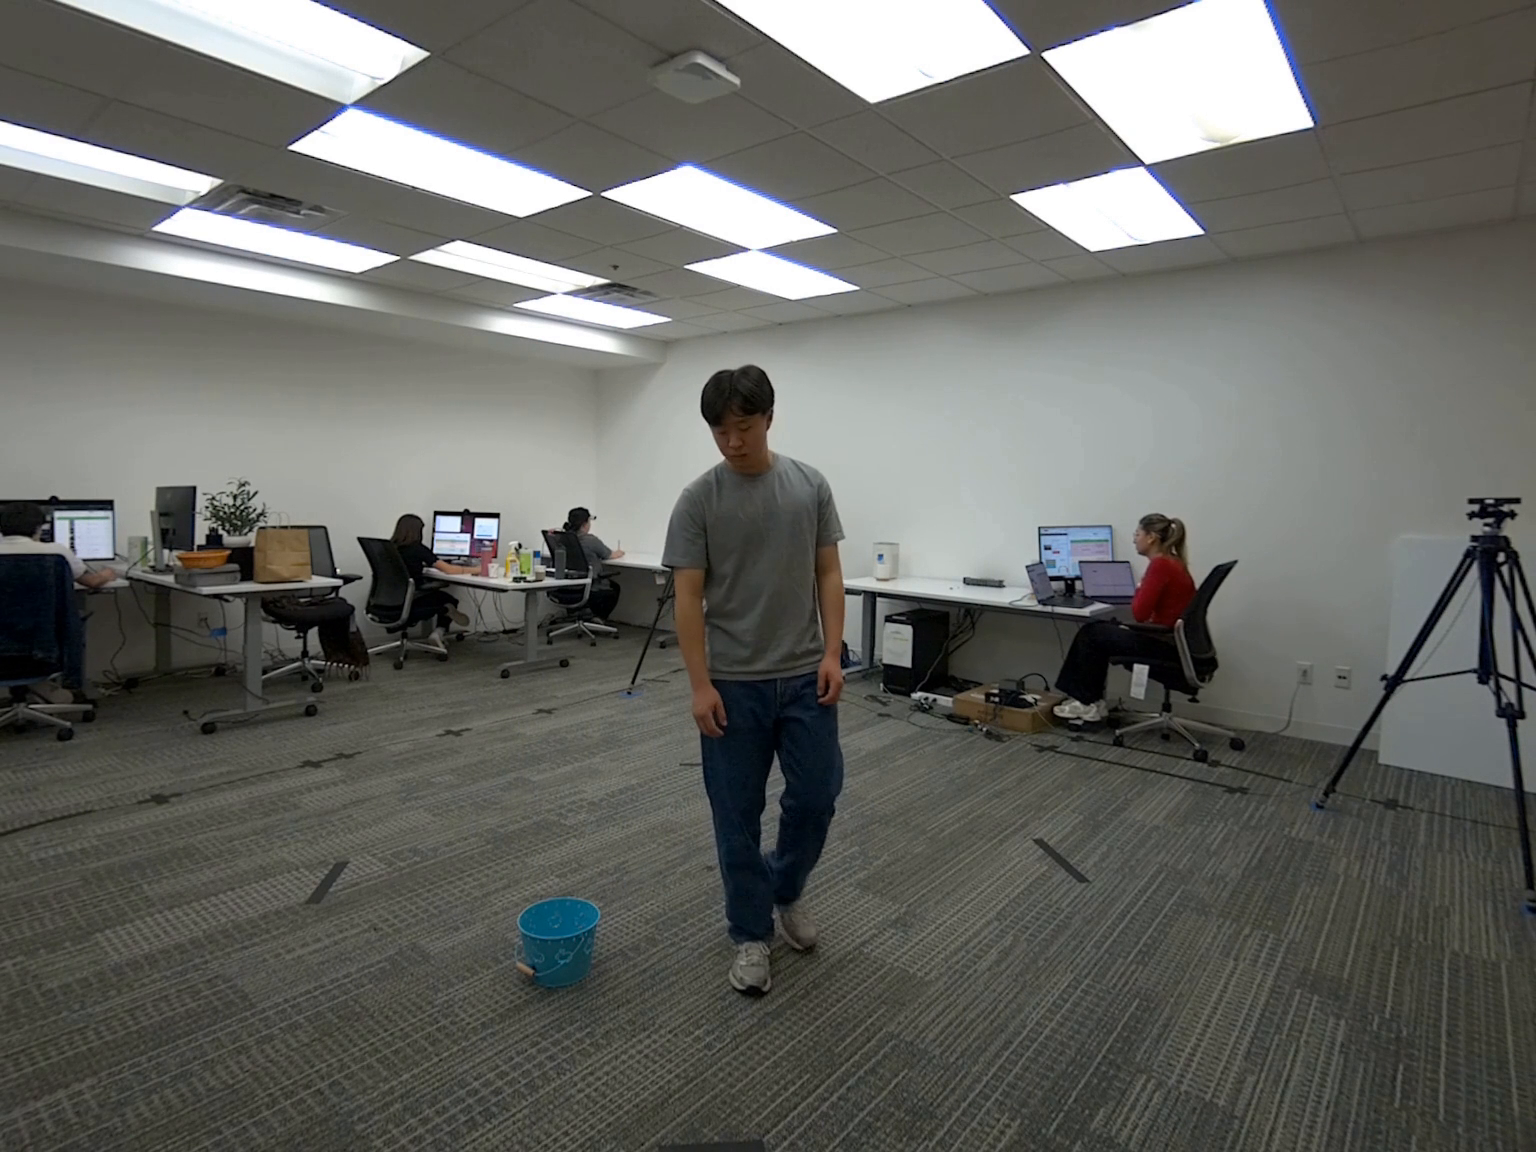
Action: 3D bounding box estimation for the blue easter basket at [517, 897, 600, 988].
[{"bbox_3d":[-0.615,1.047,2.444,0.243,0.155,0.244,0,4,-2],"label":"blue easter basket"}]
